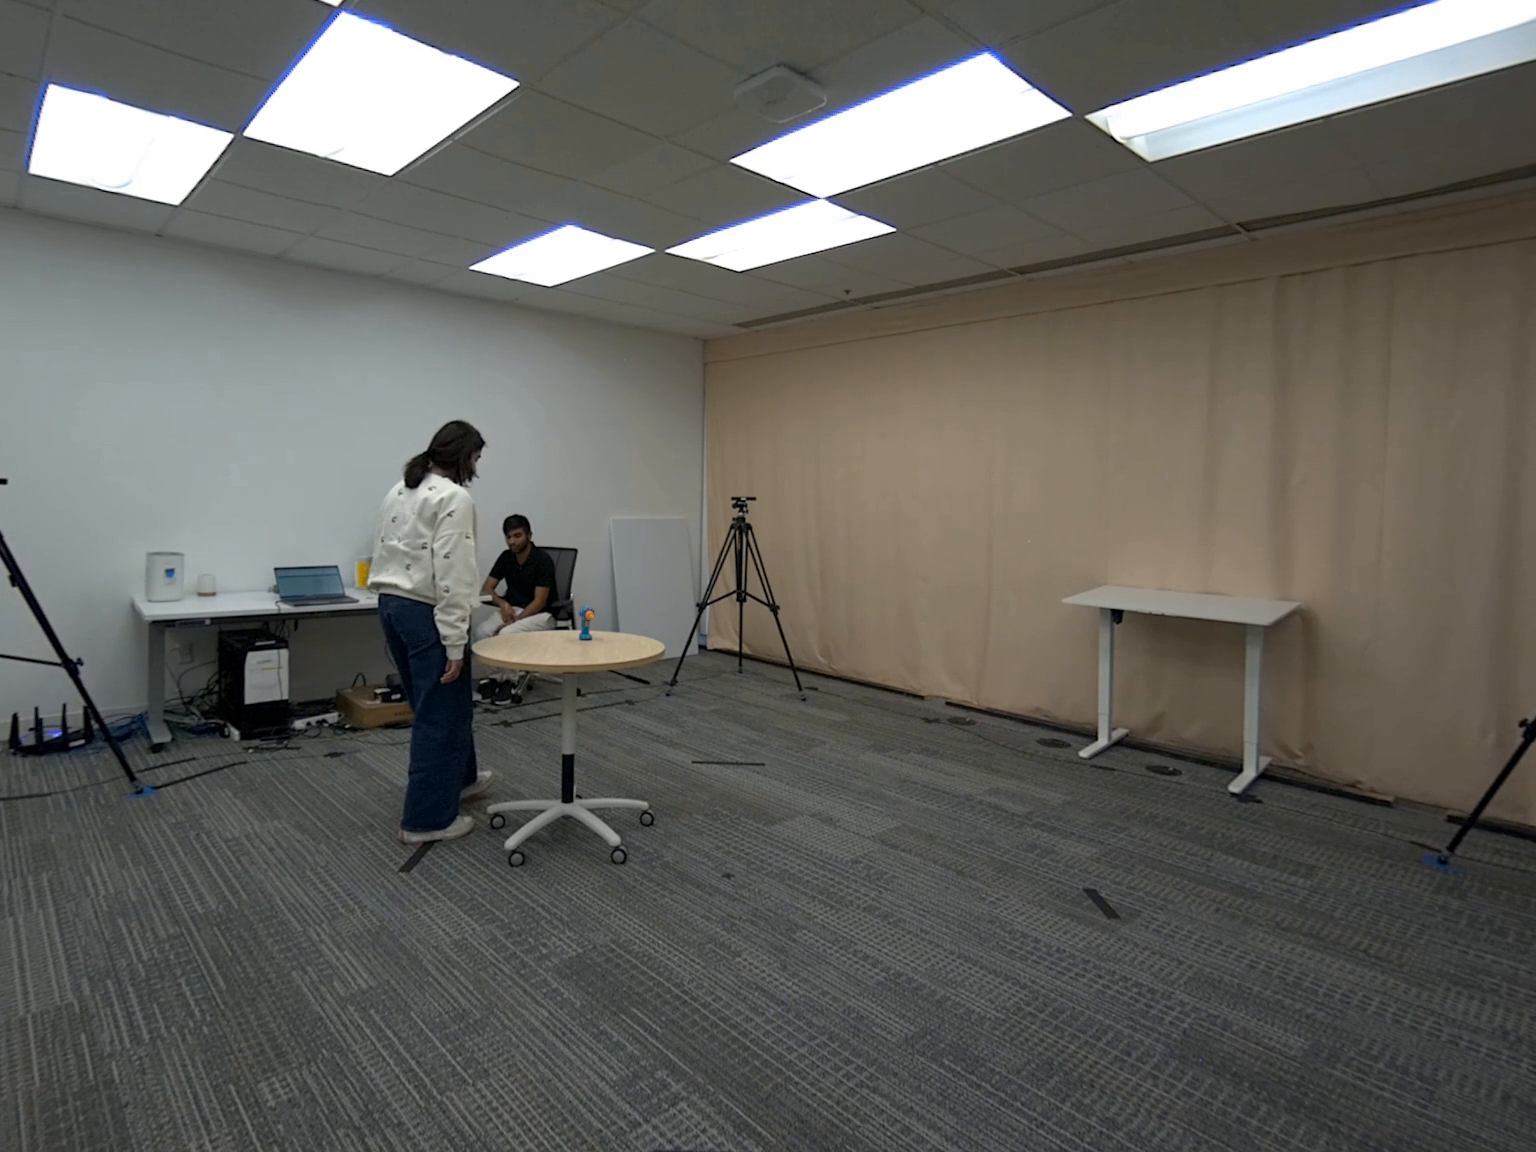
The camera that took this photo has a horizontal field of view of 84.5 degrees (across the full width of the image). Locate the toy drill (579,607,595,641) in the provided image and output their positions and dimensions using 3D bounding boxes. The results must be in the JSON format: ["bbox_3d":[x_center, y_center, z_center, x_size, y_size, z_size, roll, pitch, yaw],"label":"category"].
[{"bbox_3d":[-0.769,0.200,3.527,0.060,0.145,0.173,1,5,-22],"label":"toy drill"}]
